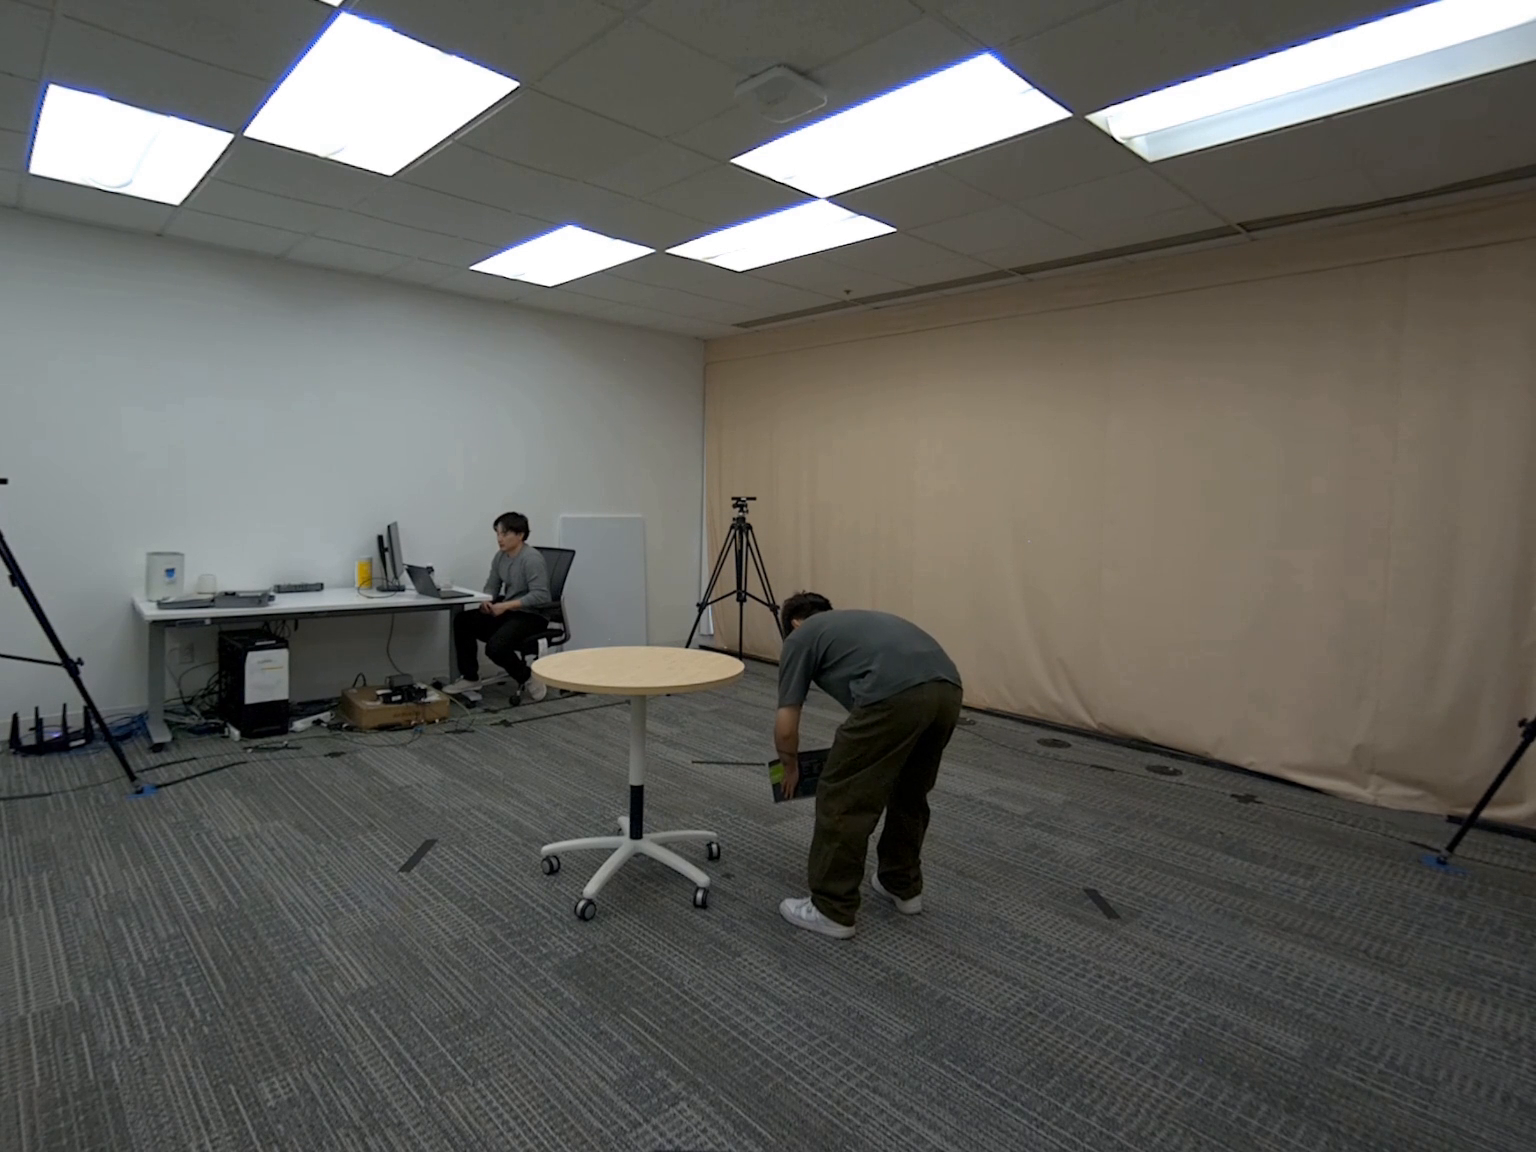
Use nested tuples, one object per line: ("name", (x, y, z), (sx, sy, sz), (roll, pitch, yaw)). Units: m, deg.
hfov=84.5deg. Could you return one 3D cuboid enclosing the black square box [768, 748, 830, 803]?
("black square box", (0.143, 0.760, 3.211), (0.213, 0.158, 0.228), (-1, -21, -28))
